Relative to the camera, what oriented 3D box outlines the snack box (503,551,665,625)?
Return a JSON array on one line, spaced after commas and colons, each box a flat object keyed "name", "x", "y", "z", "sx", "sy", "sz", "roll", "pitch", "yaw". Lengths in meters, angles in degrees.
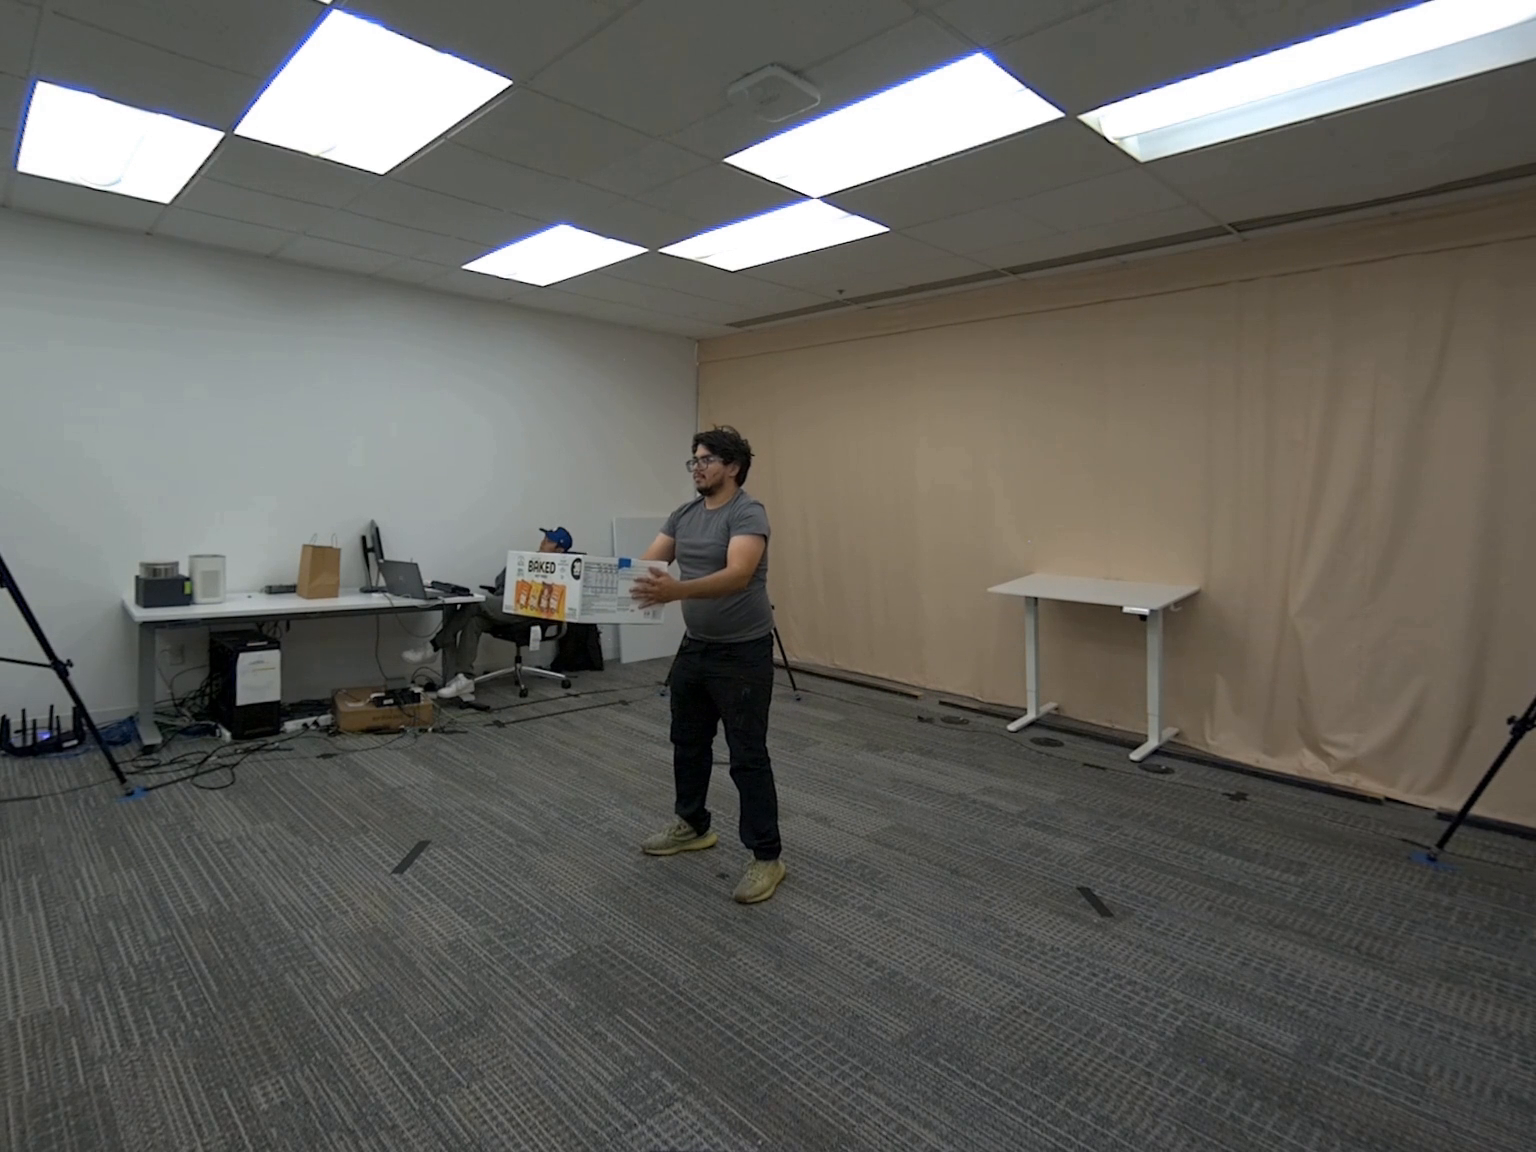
[{"name": "snack box", "x": -0.598, "y": 0.035, "z": 2.712, "sx": 0.415, "sy": 0.206, "sz": 0.332, "roll": 4, "pitch": -1, "yaw": 42}]
